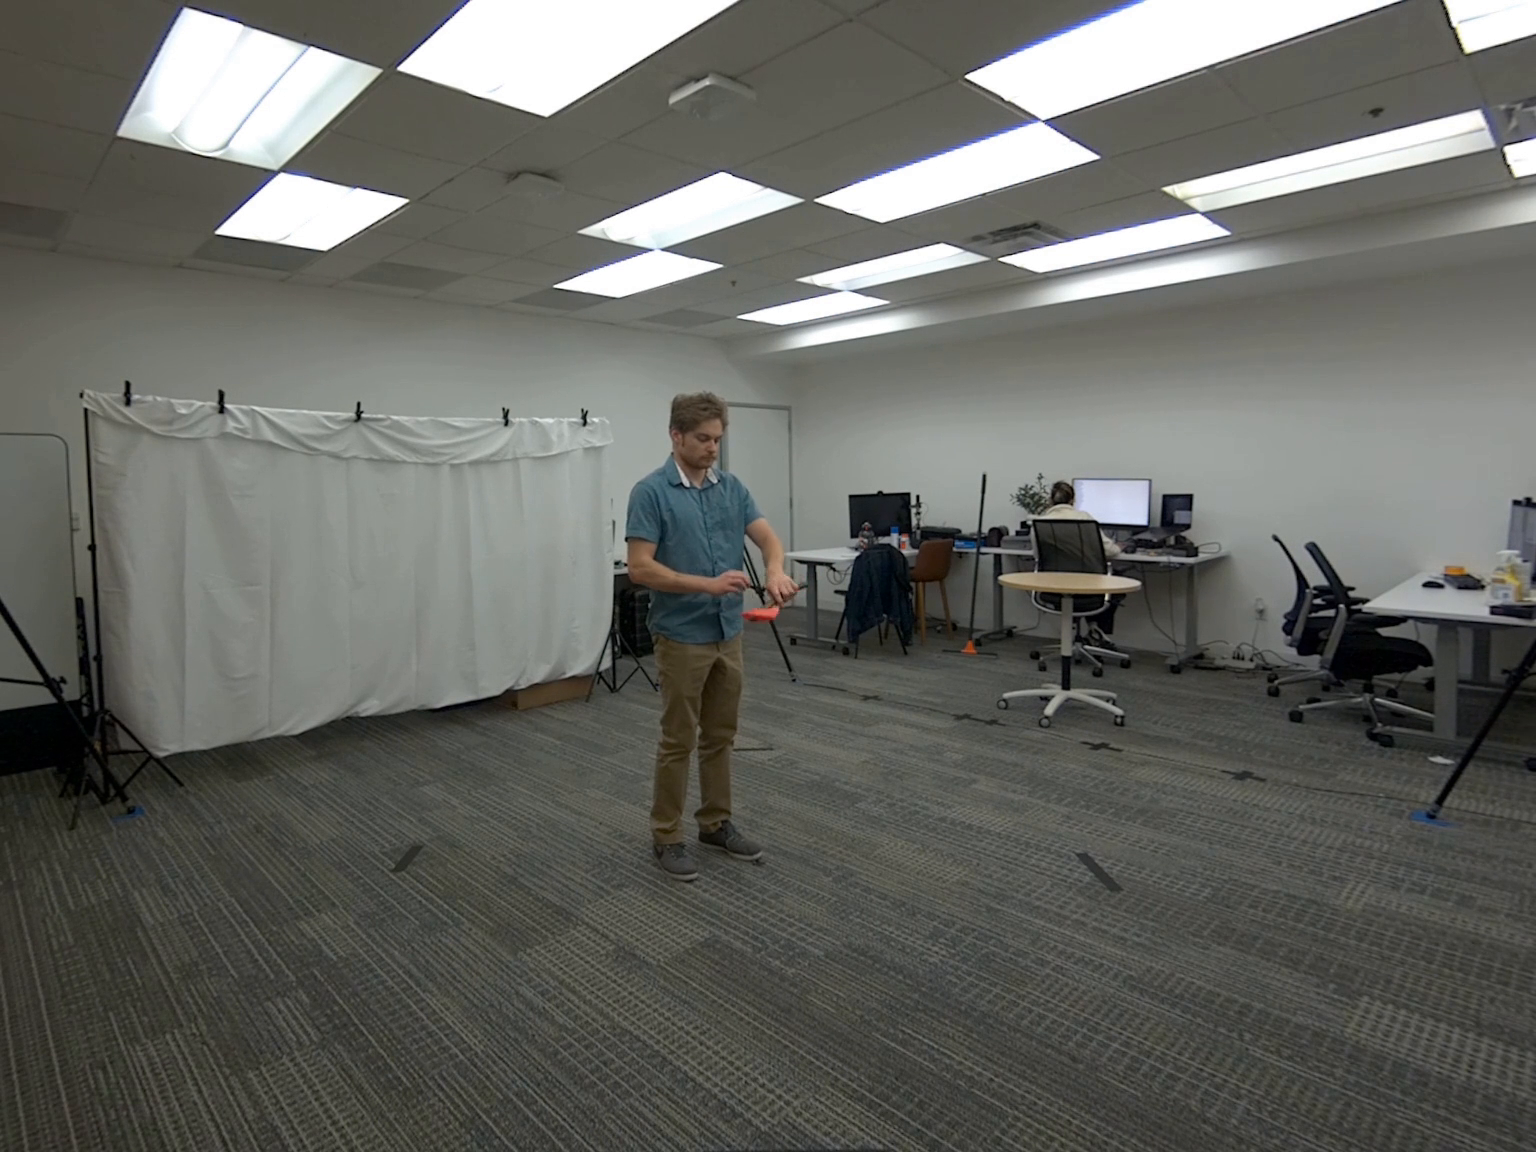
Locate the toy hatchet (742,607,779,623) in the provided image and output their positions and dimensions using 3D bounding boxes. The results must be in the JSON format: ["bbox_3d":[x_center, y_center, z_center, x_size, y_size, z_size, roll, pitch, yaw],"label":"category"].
[{"bbox_3d":[0.051,0.097,2.775,0.264,0.029,0.135,-18,17,-42],"label":"toy hatchet"}]
